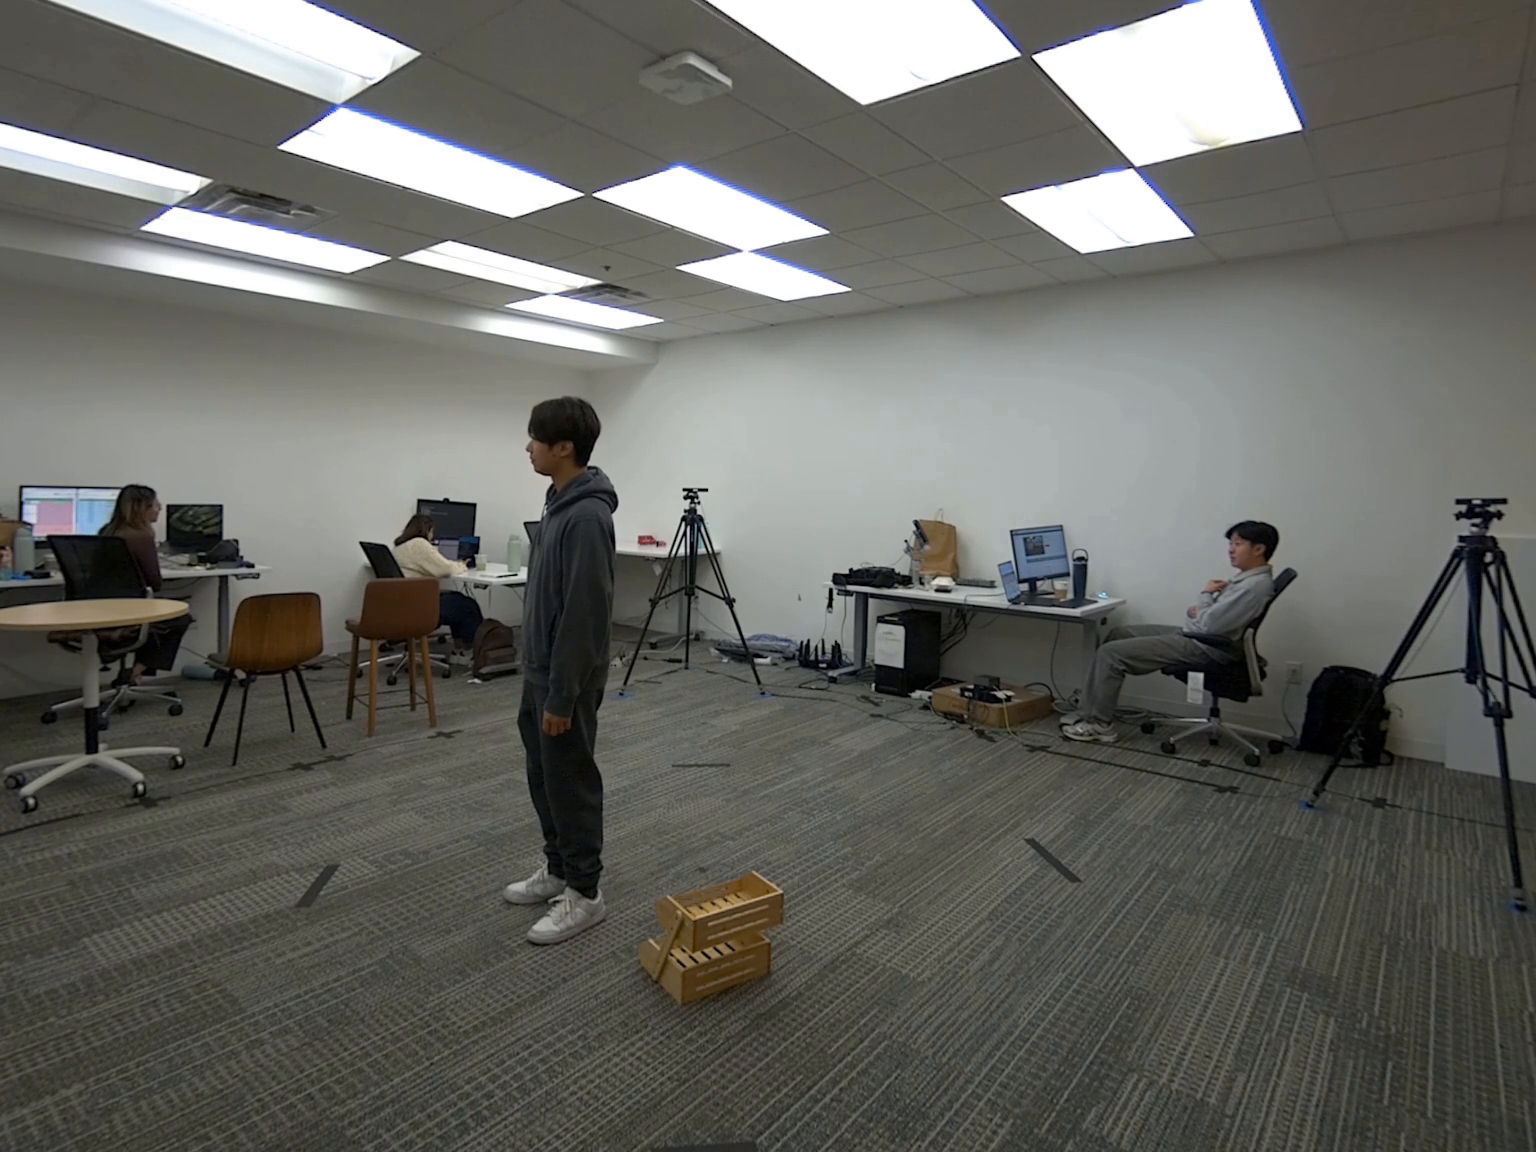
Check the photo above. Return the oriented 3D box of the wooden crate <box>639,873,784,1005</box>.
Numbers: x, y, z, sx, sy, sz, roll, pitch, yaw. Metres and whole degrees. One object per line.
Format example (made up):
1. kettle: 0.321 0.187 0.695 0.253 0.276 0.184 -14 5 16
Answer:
1. wooden crate: -0.178 1.001 2.440 0.315 0.272 0.312 -2 6 -35
